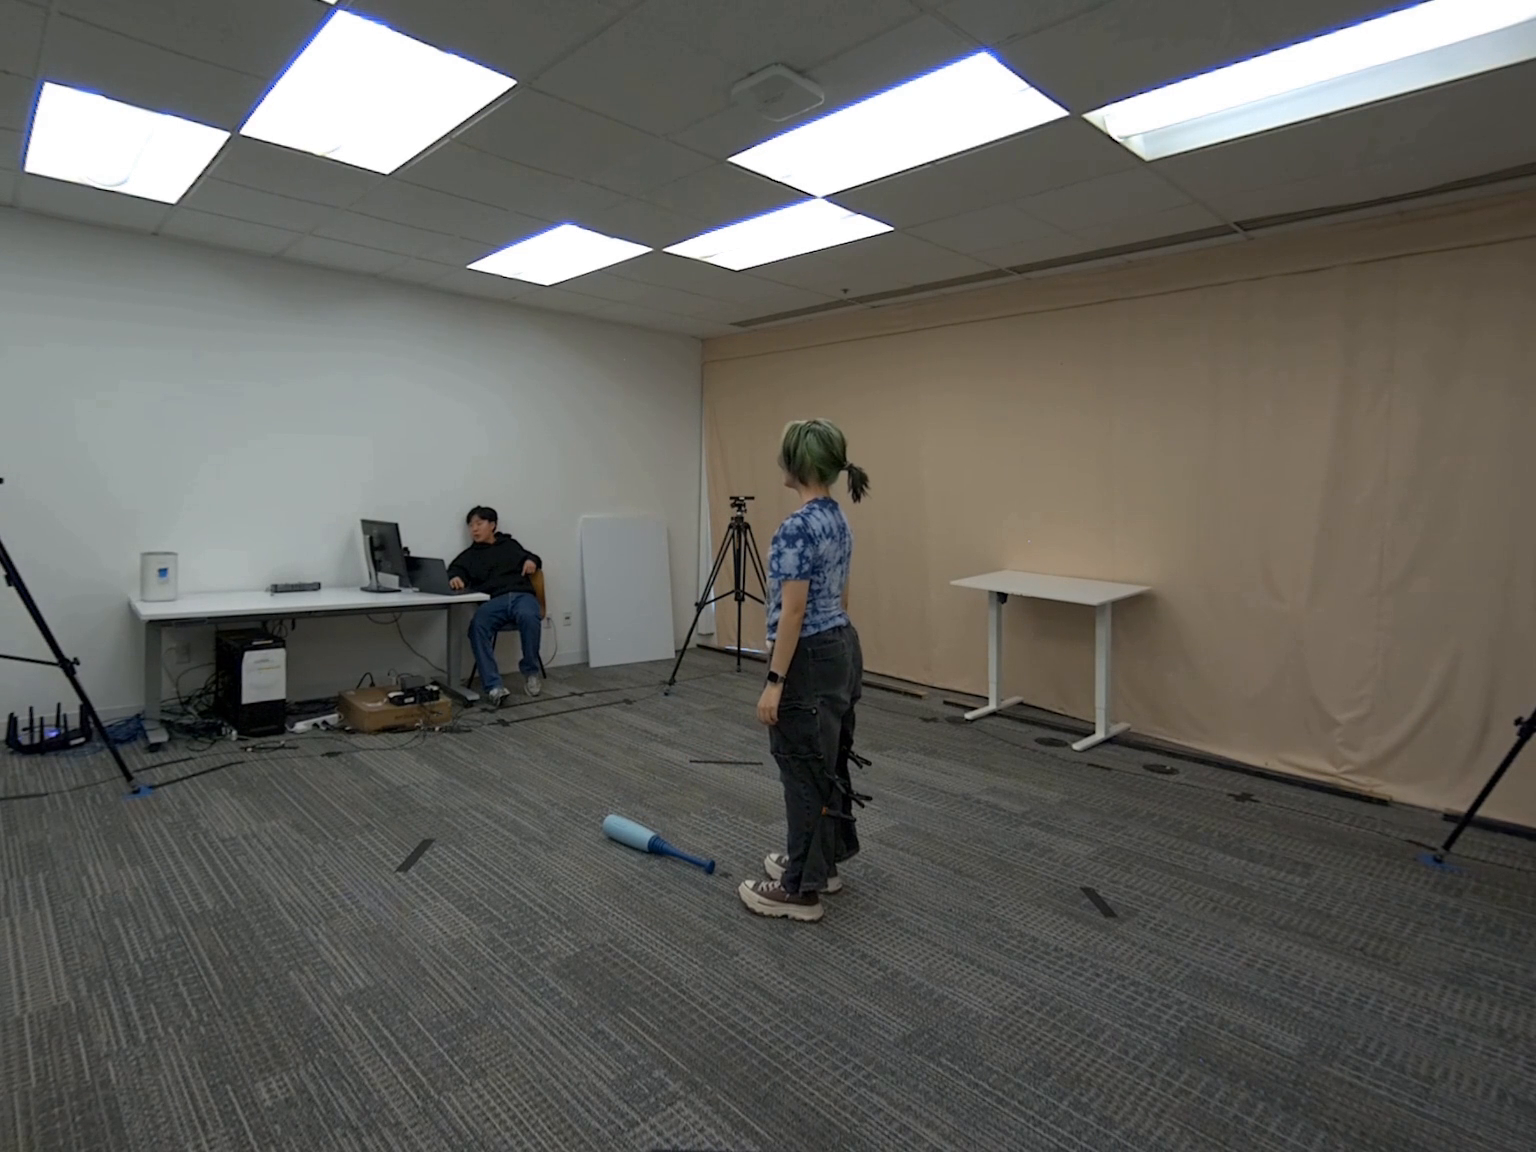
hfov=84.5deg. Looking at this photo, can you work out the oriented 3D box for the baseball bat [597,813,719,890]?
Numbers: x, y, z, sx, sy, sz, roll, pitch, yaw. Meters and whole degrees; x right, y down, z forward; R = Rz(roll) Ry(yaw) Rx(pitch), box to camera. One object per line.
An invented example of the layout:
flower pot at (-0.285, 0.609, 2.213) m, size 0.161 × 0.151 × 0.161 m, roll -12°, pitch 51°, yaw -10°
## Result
baseball bat at (-0.436, 1.052, 3.263) m, size 0.557 × 0.089 × 0.087 m, roll 9°, pitch 8°, yaw 36°
